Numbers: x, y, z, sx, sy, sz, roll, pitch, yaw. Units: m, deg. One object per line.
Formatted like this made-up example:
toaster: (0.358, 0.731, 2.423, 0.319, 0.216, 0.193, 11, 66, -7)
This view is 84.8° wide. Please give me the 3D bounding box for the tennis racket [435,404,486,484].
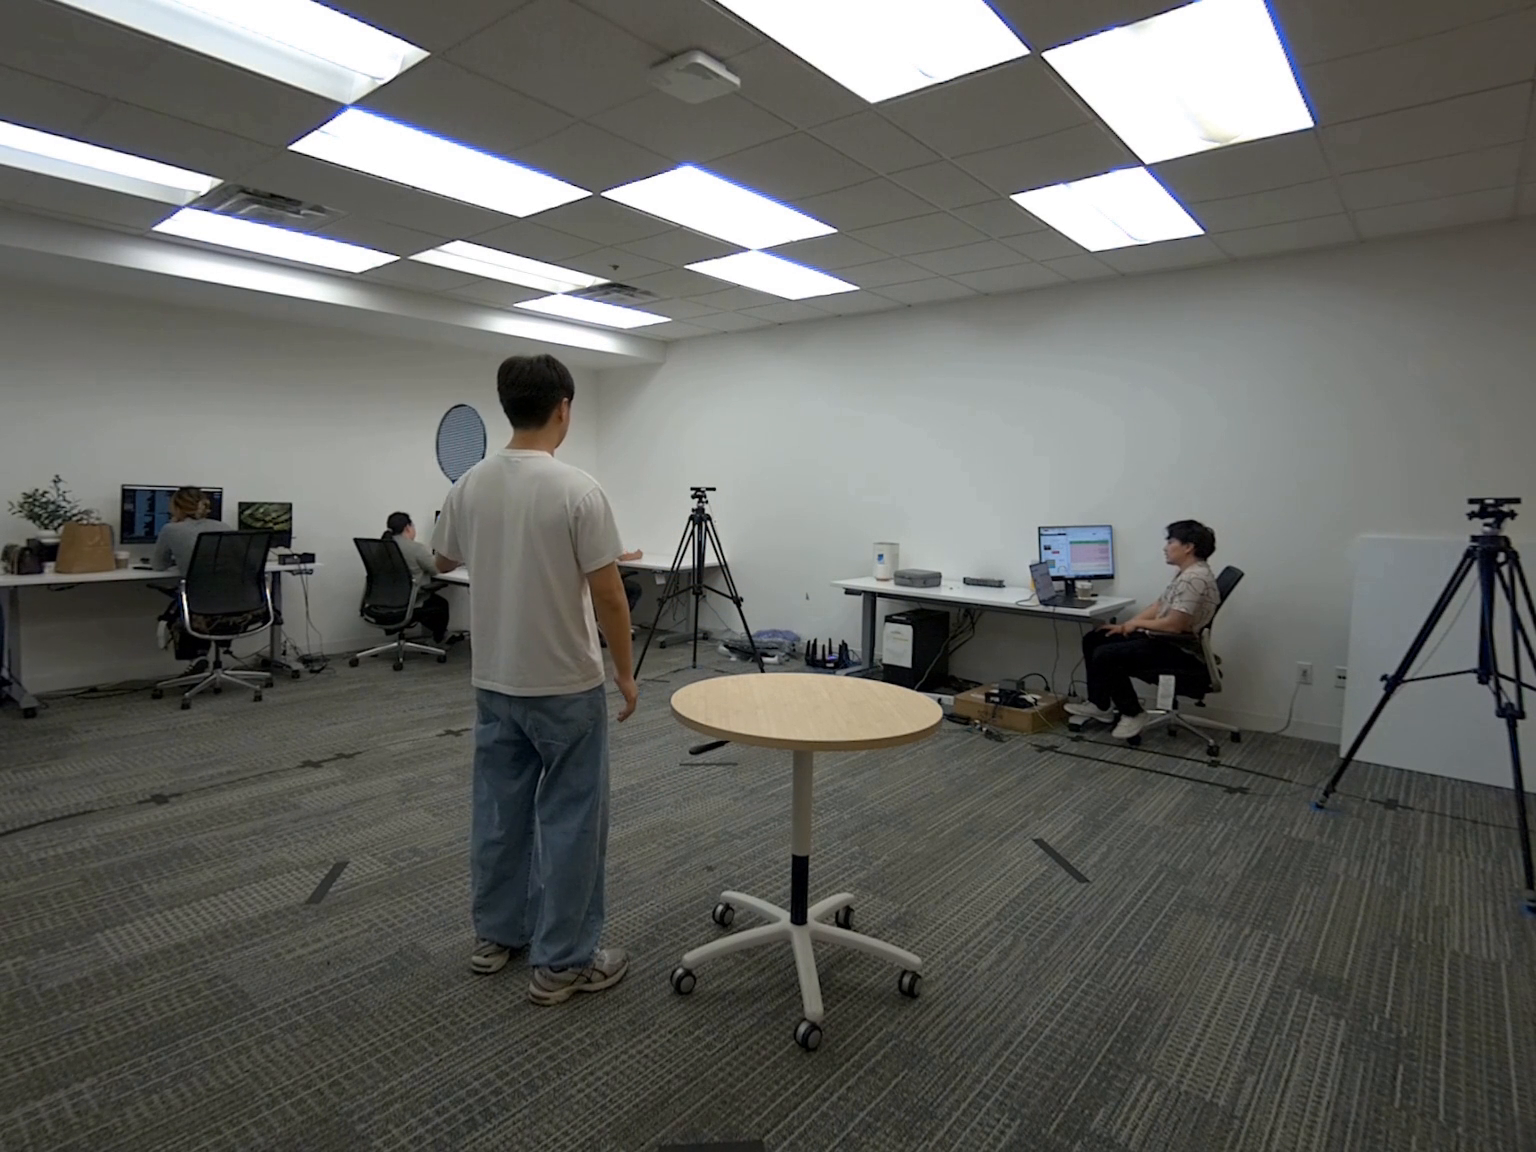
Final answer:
tennis racket: (-1.020, -0.362, 2.852, 0.218, 0.435, 0.031, -4, -5, 23)
